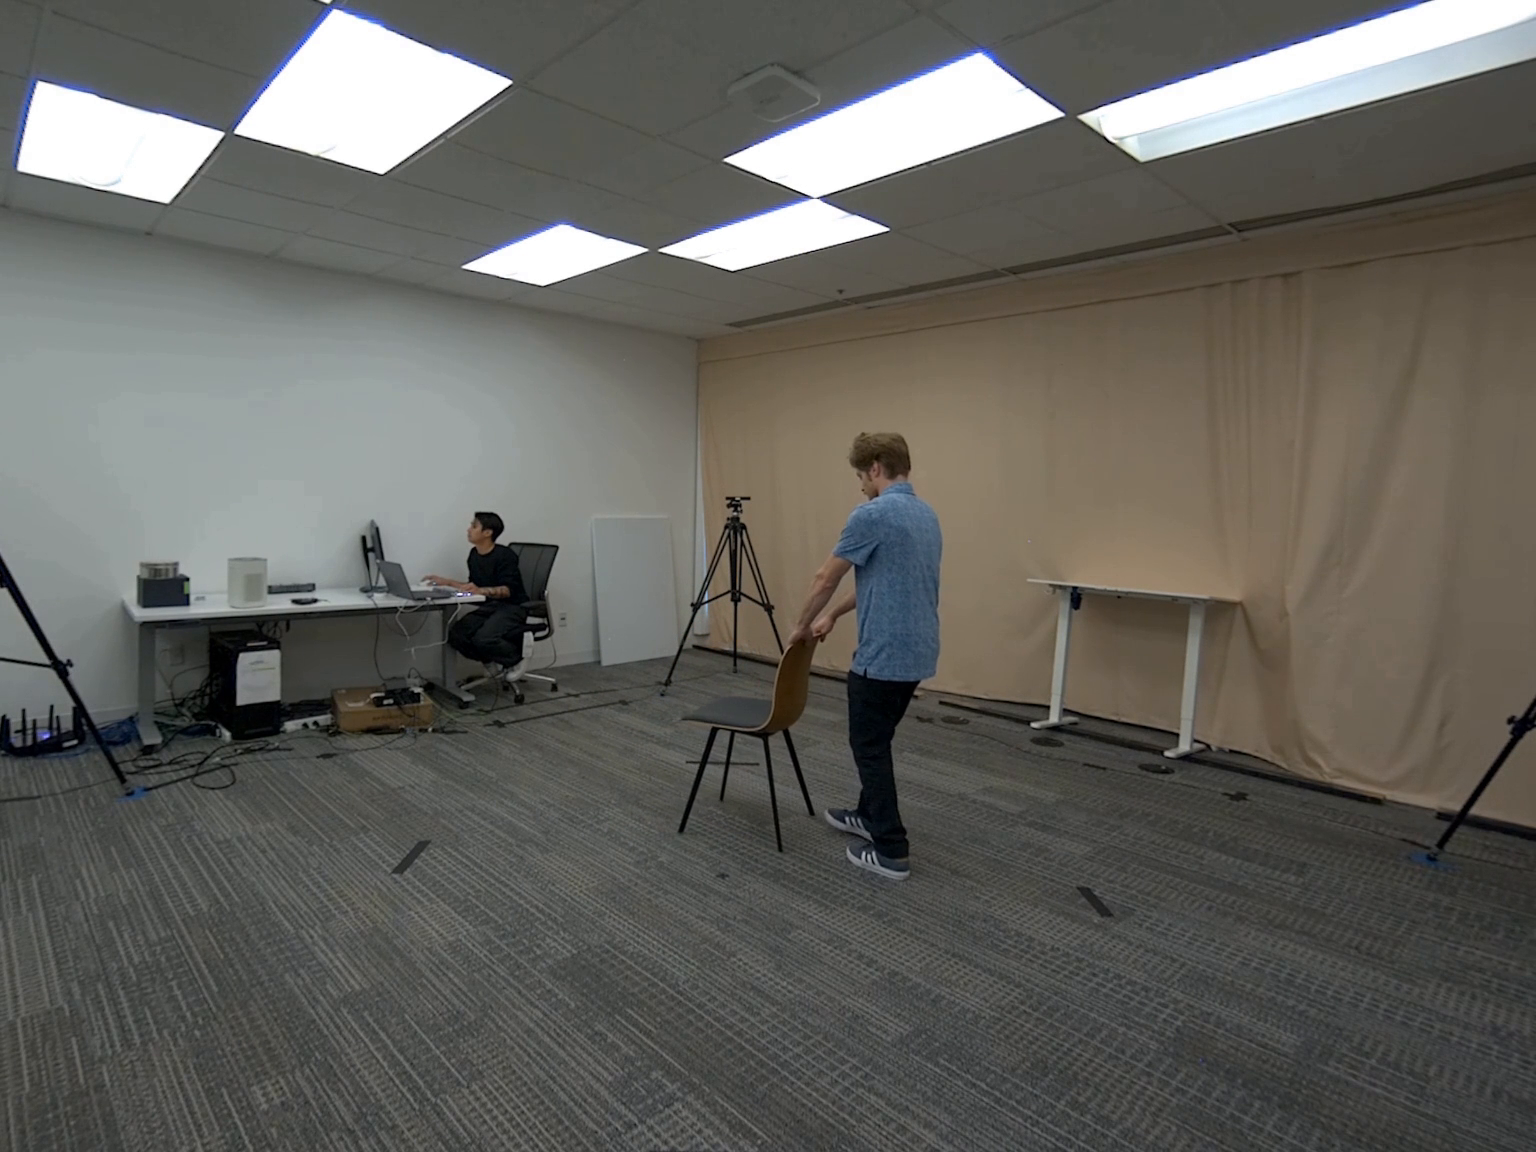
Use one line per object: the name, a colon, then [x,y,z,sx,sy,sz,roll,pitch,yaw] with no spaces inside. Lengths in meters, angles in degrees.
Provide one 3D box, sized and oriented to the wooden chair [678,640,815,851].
wooden chair: [-0.086,0.637,3.576,0.532,0.874,0.471,7,5,20]
